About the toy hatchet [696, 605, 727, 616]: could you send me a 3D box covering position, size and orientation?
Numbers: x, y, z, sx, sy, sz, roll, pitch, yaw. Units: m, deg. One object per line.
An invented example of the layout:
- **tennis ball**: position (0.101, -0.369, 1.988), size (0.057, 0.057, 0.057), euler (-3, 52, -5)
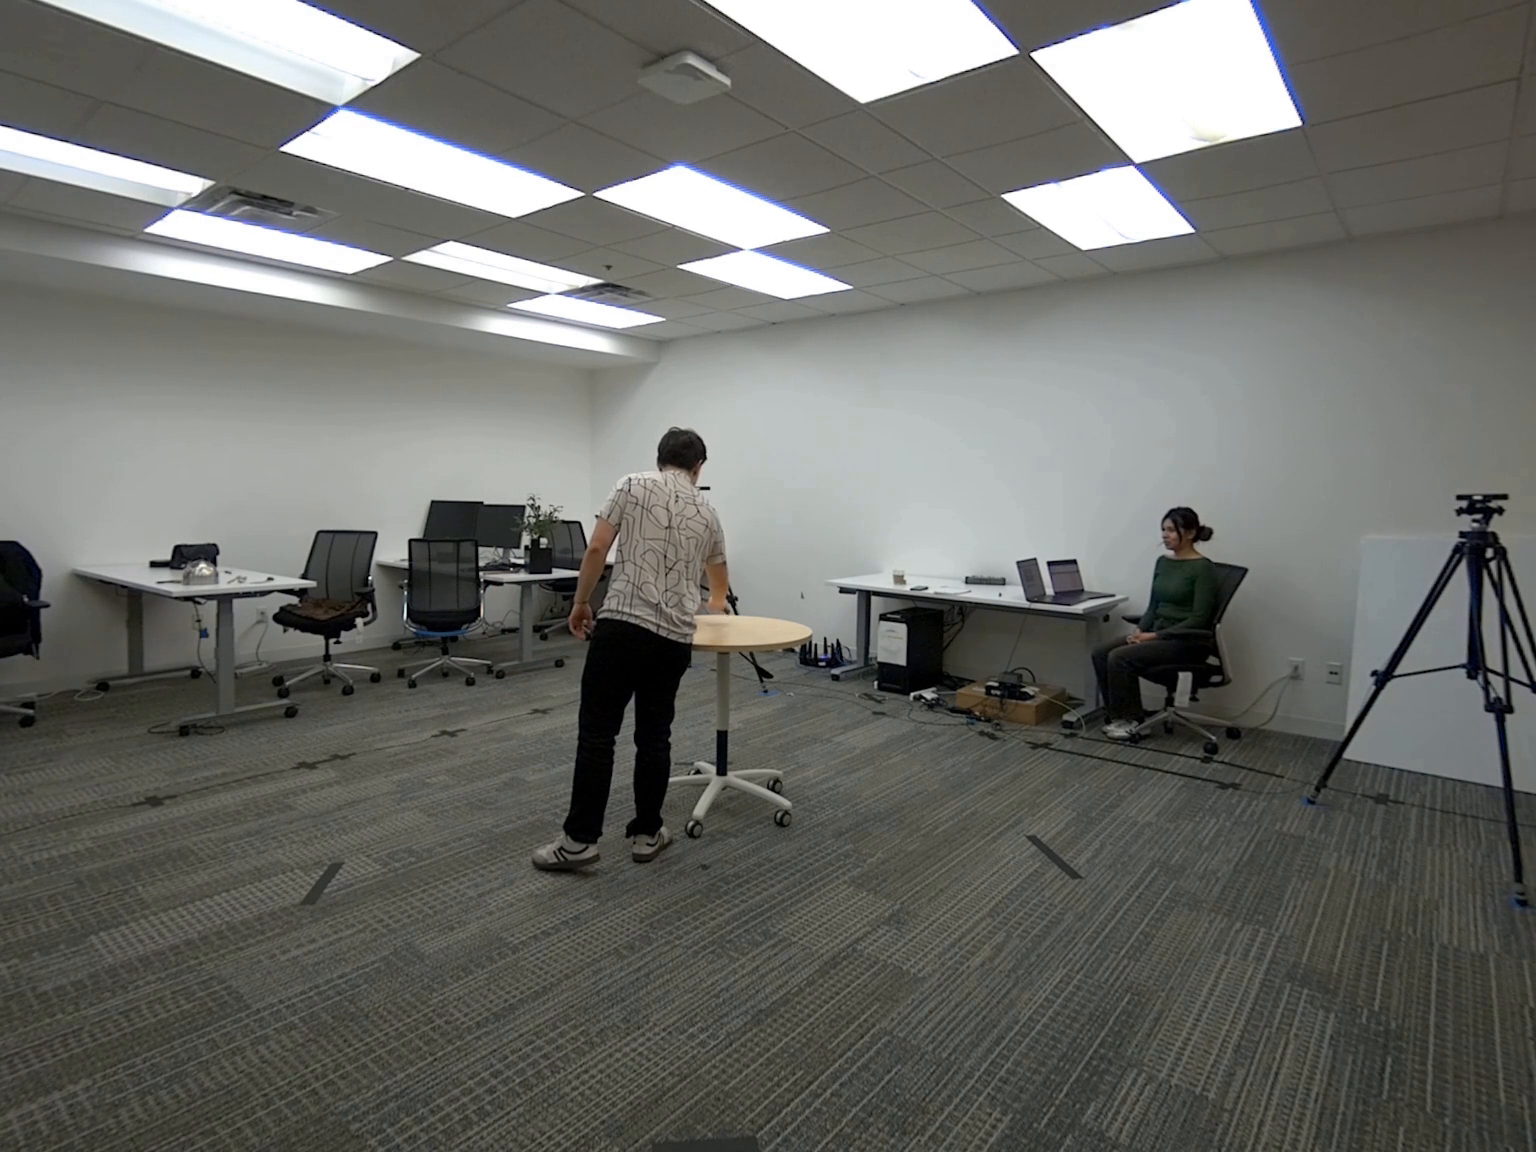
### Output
- **toy hatchet**: position (-0.288, 0.125, 3.876), size (0.279, 0.127, 0.029), euler (30, 59, 27)
